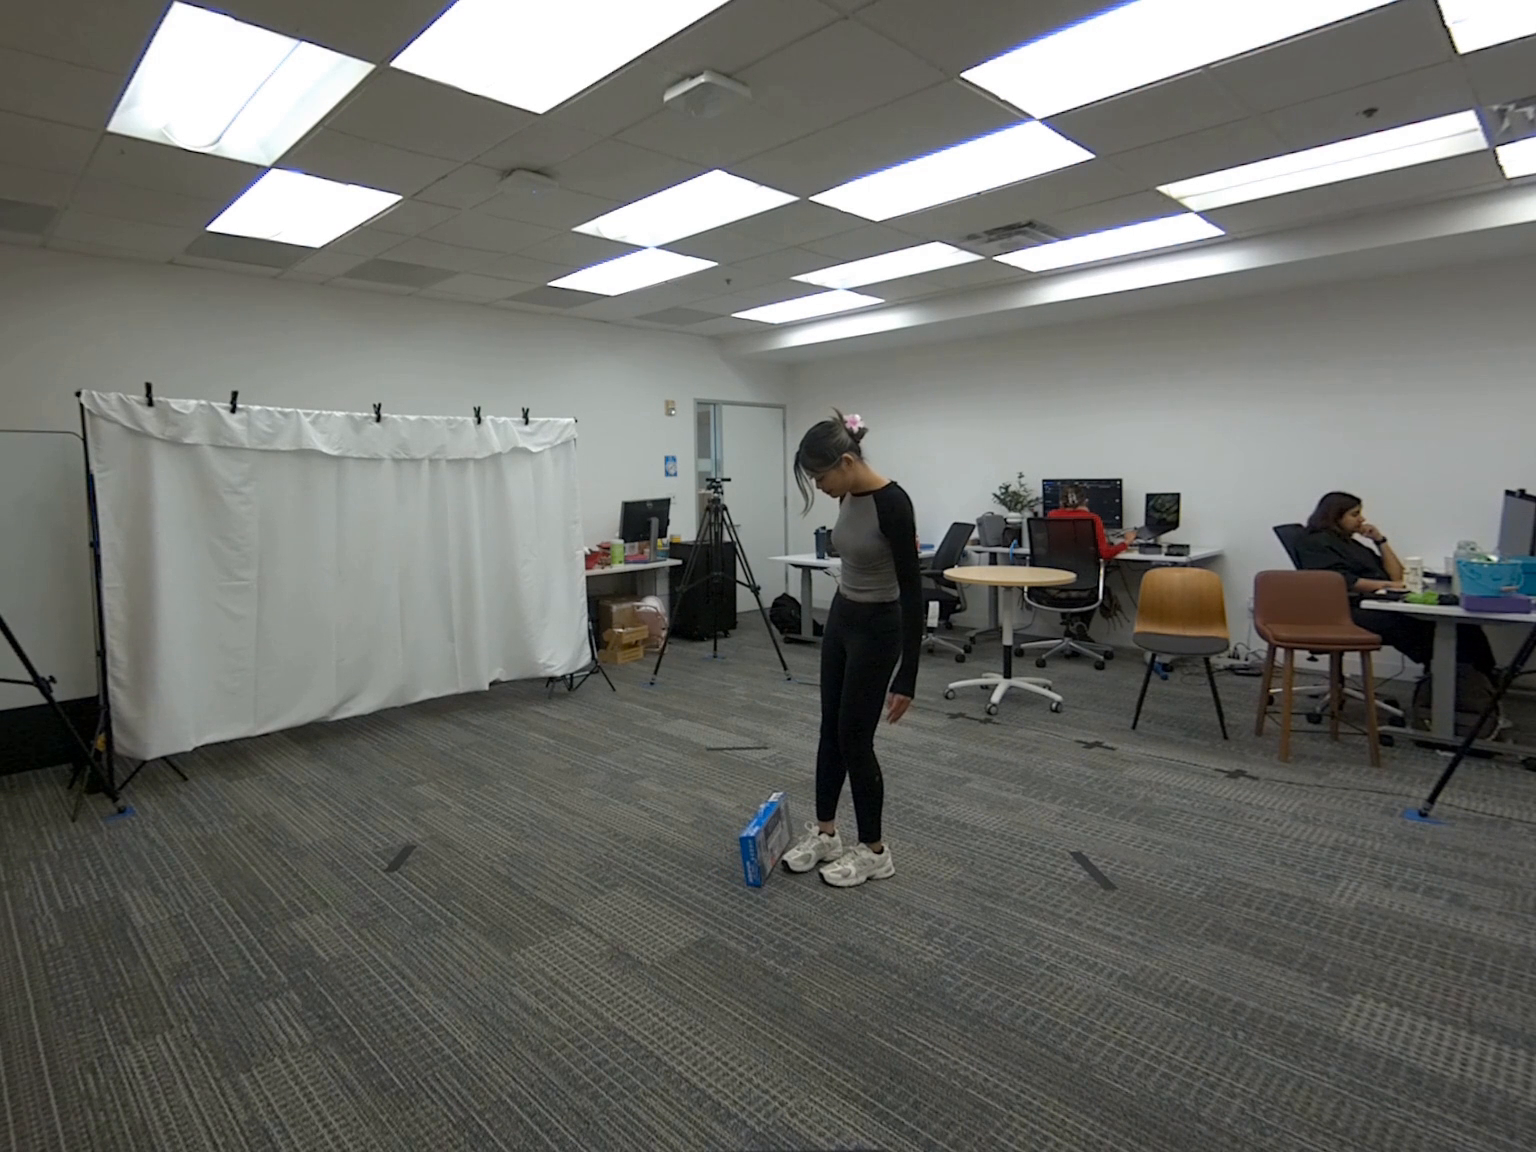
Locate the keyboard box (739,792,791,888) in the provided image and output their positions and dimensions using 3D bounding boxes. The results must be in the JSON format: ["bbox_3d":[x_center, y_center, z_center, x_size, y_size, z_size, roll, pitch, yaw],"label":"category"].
[{"bbox_3d":[0.001,0.949,3.126,0.060,0.176,0.431,-9,3,16],"label":"keyboard box"}]
